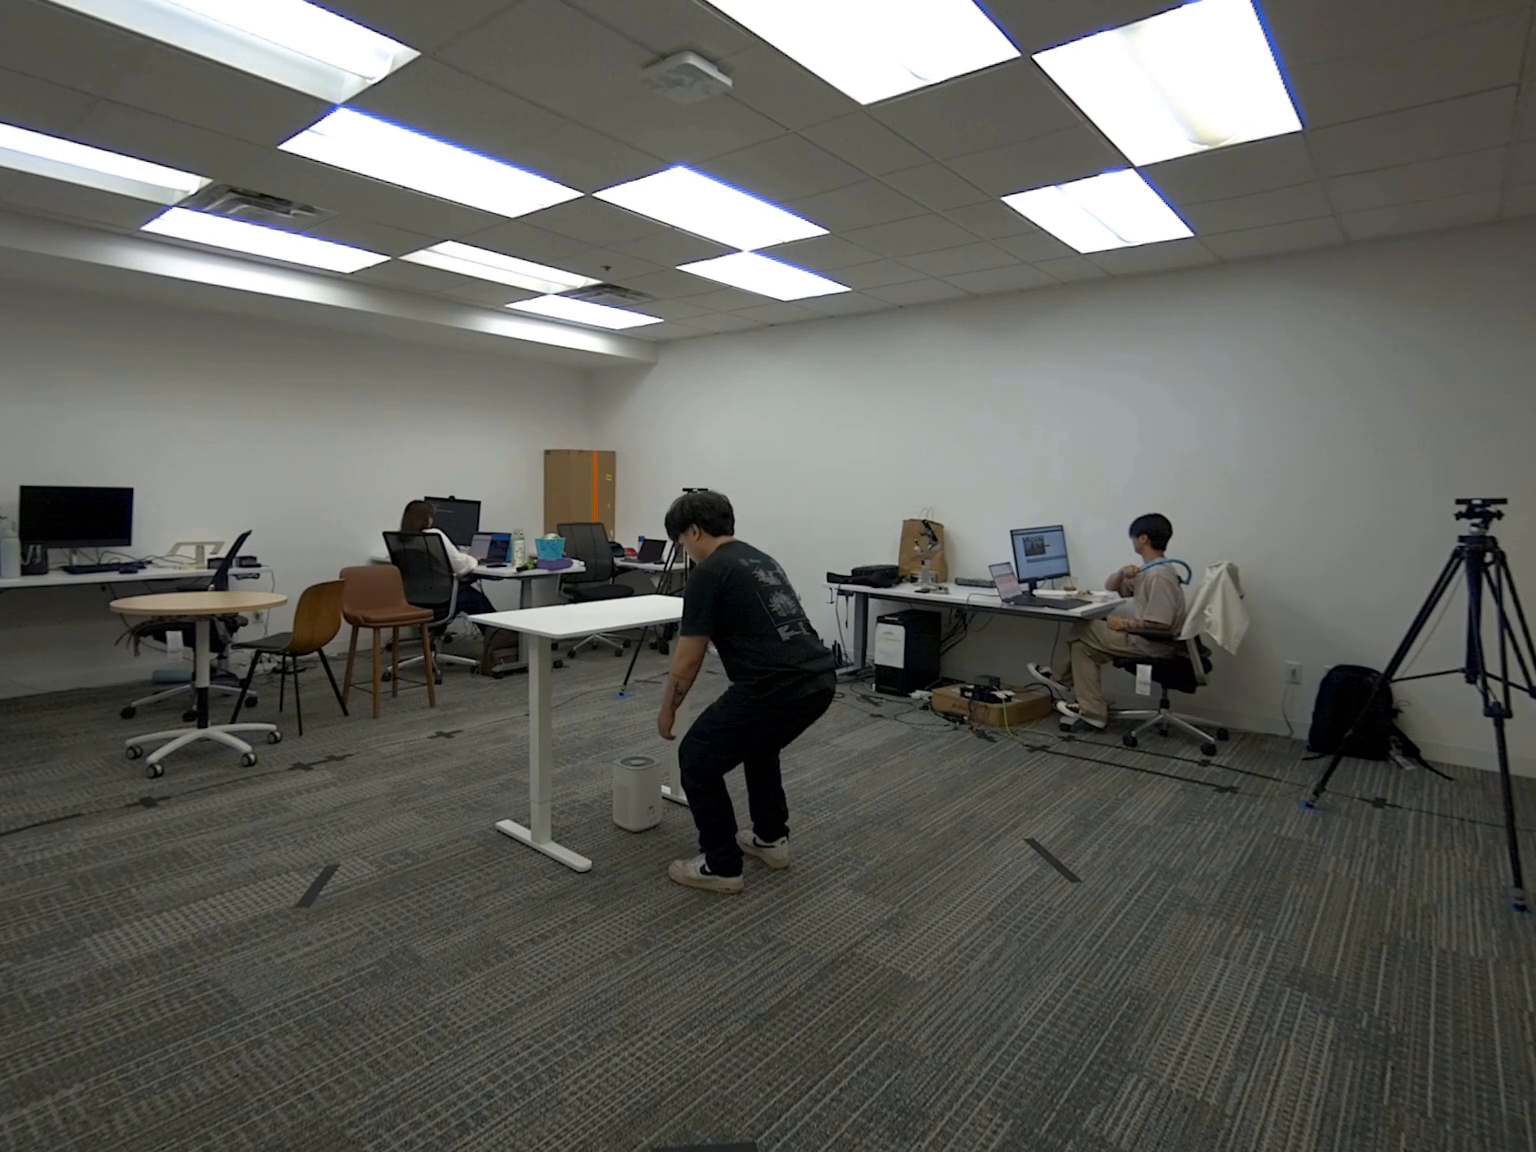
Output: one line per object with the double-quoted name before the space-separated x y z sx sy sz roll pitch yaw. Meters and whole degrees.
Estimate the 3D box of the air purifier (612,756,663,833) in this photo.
"air purifier" -0.548 0.890 3.506 0.177 0.265 0.166 3 4 40
